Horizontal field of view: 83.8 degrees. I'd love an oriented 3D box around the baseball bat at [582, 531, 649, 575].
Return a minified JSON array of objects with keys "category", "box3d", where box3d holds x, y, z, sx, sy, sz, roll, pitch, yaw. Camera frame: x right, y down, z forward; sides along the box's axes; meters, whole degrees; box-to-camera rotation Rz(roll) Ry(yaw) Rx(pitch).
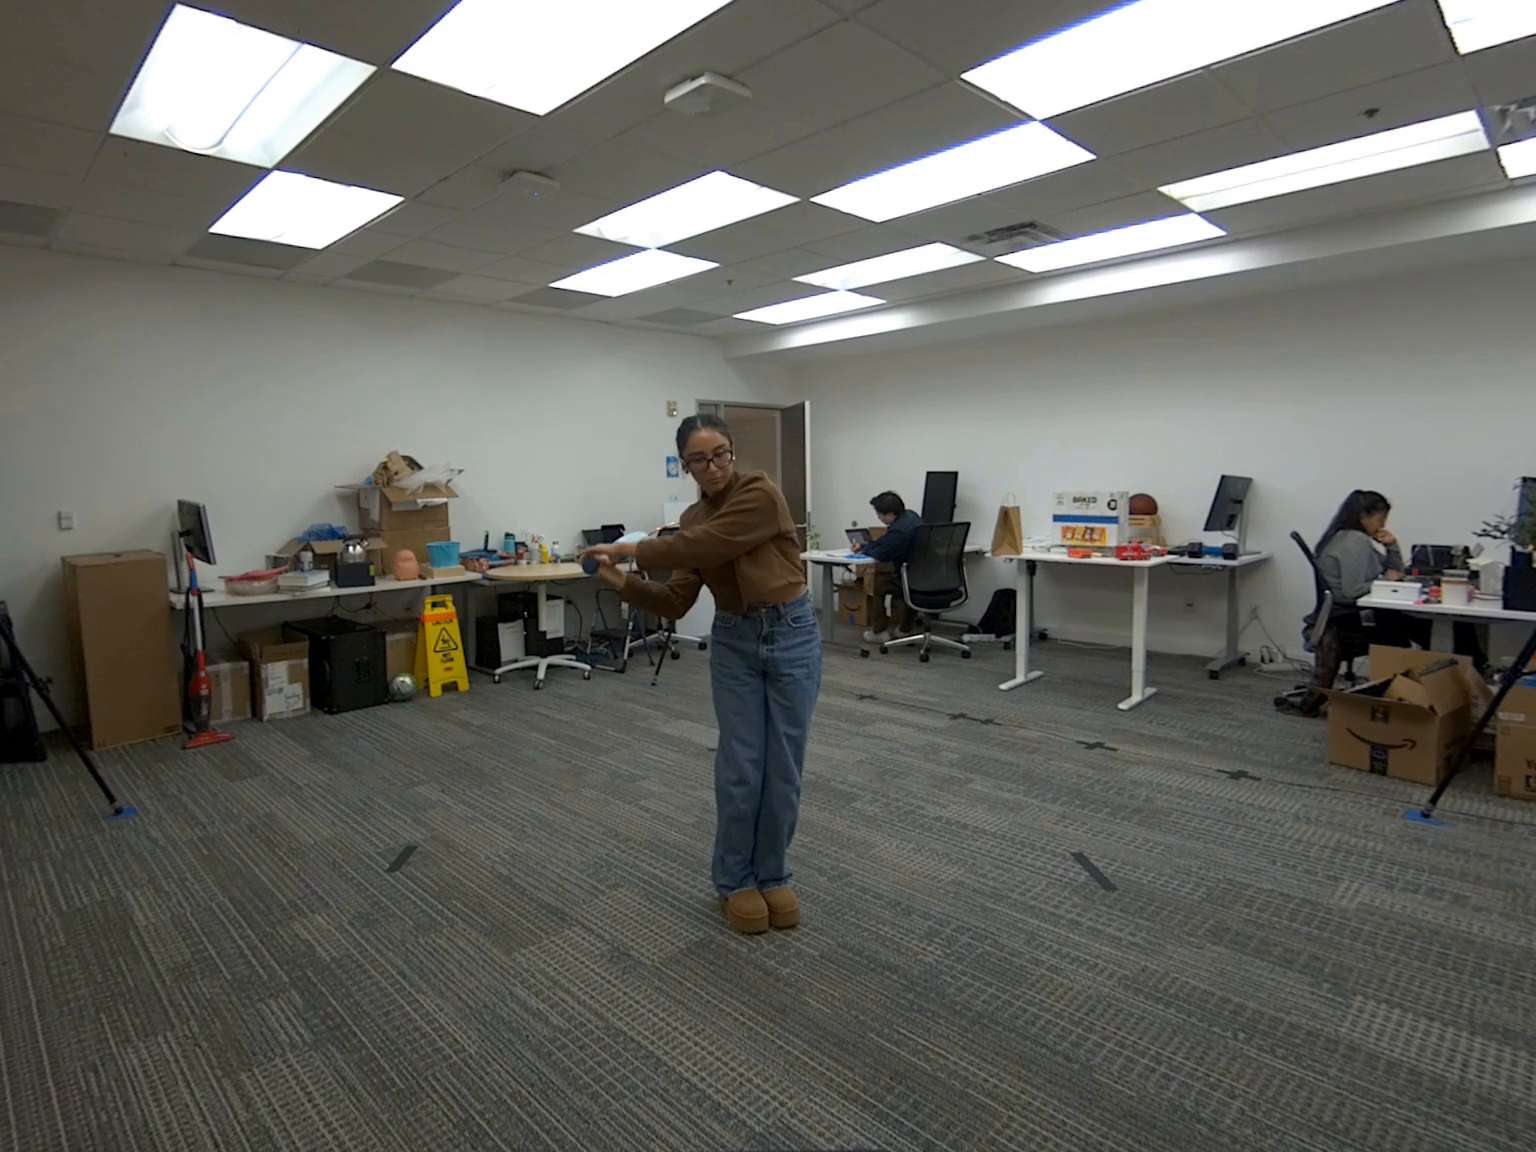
[{"category":"baseball bat","box3d":[-0.520,-0.071,2.840,0.090,0.088,0.542,0,9,8]}]
